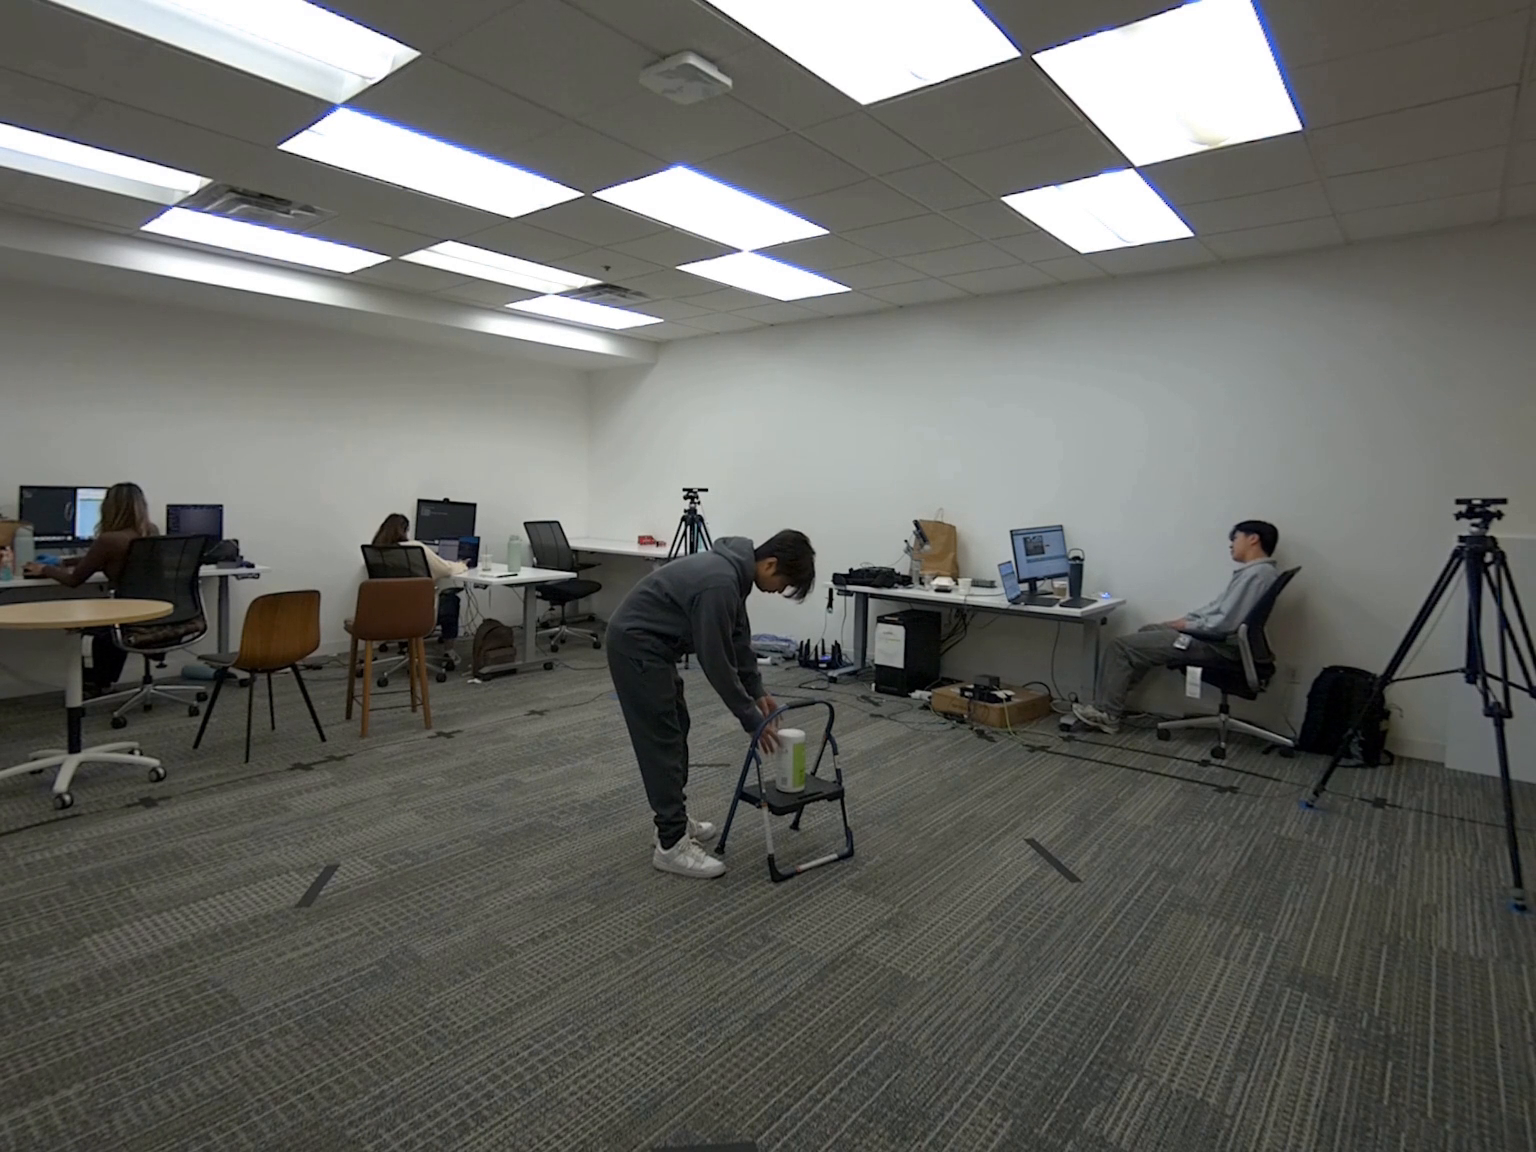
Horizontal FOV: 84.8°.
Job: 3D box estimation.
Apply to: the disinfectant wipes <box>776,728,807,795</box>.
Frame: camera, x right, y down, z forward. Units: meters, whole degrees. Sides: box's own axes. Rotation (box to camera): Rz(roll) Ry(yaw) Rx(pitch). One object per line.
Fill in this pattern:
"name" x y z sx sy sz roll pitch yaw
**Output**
"disinfectant wipes" 0.079 0.700 3.223 0.118 0.217 0.118 1 3 -2
